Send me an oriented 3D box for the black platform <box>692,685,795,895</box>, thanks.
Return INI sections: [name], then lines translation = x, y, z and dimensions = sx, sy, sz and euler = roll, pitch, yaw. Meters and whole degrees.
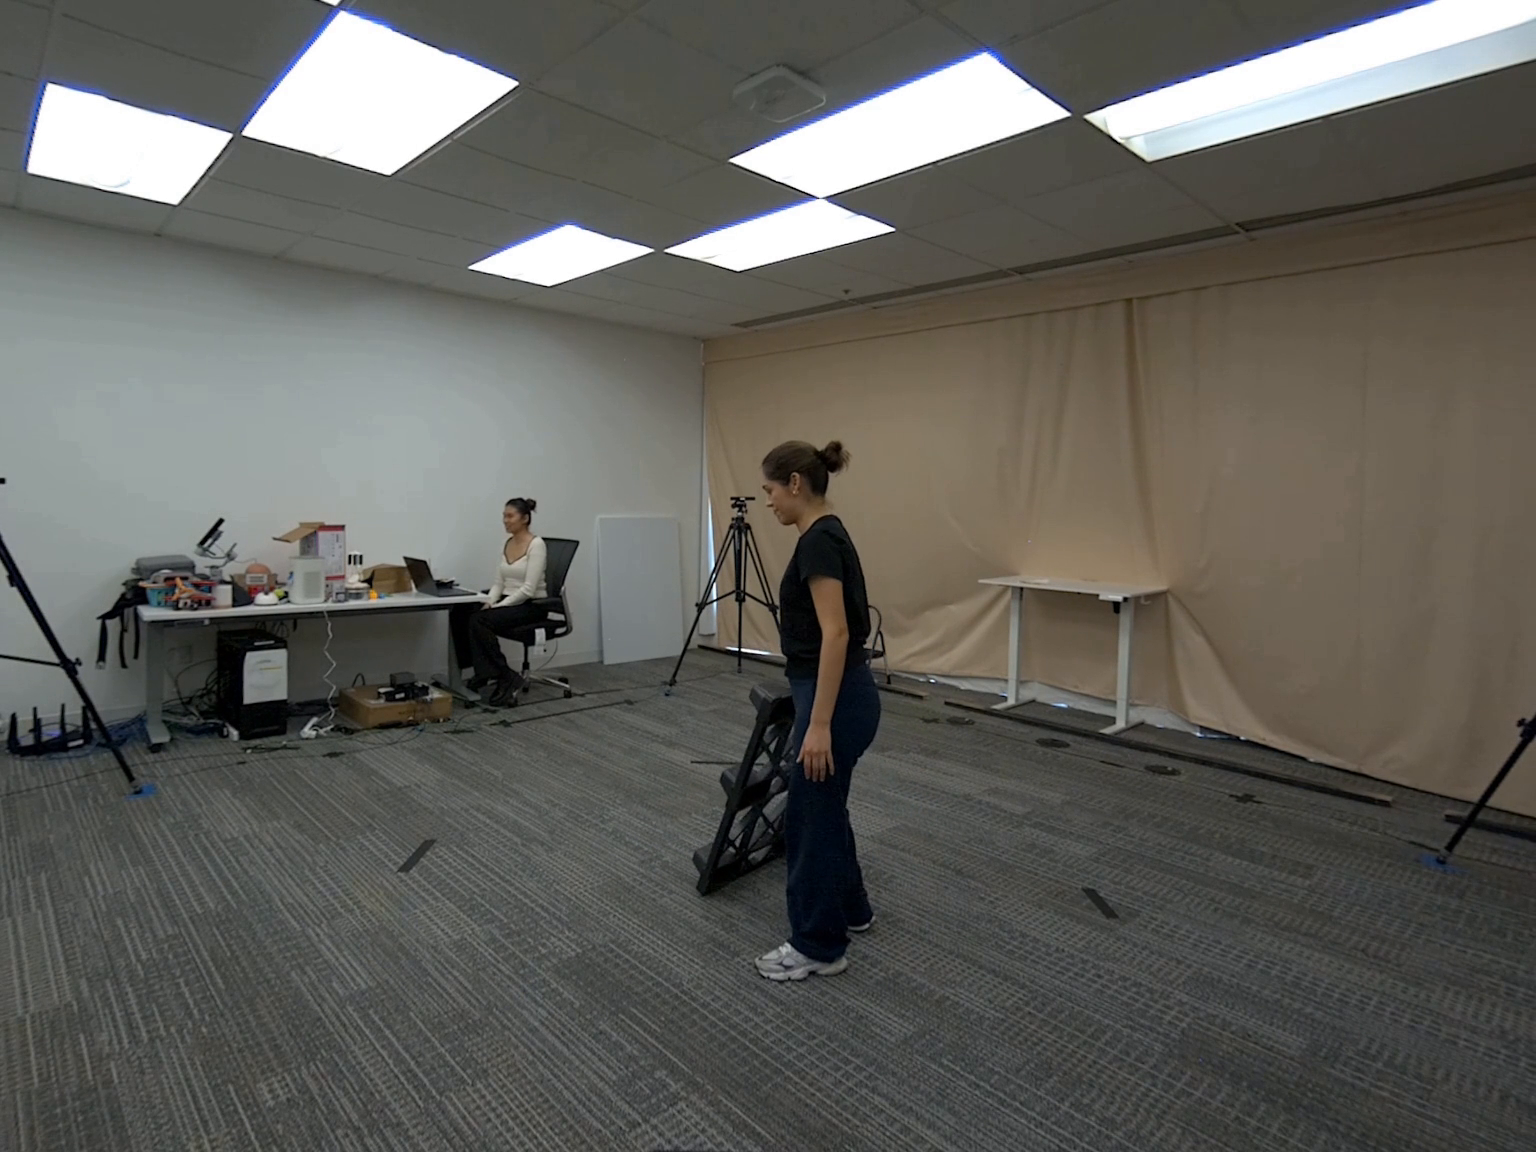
[black platform]
translation = 0.023, 0.722, 3.060
dimensions = 0.147, 0.800, 0.592
euler = 30, 20, 33
